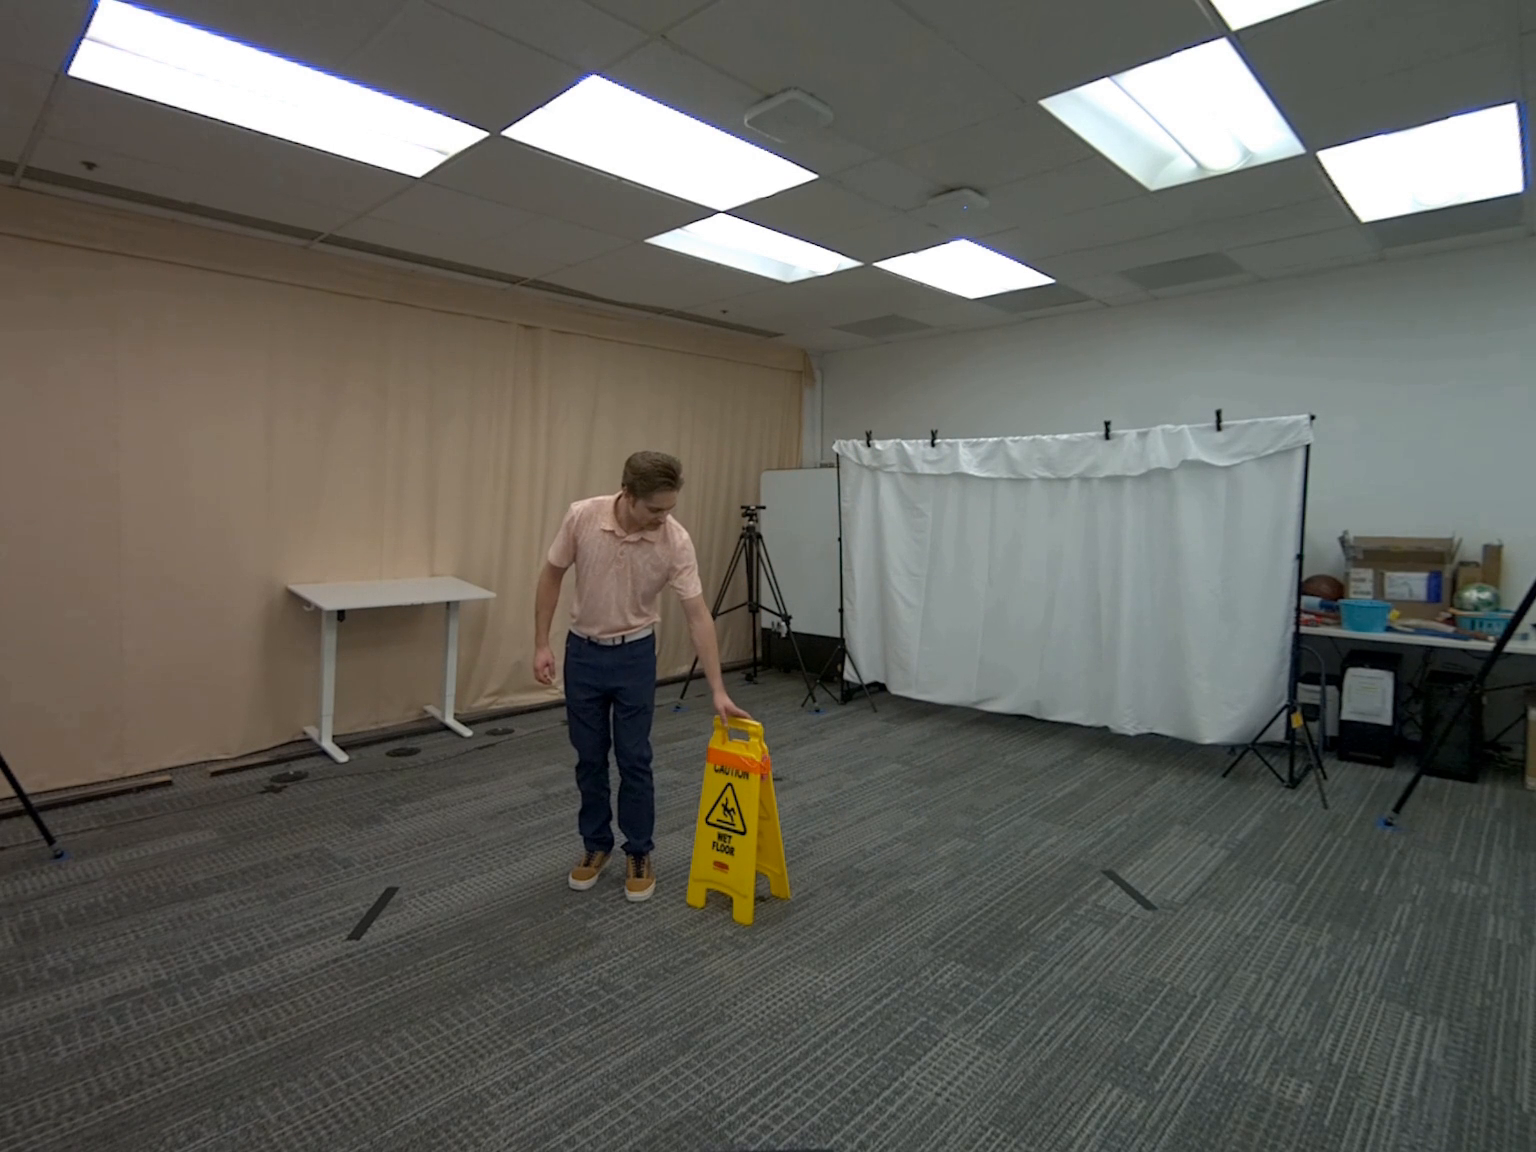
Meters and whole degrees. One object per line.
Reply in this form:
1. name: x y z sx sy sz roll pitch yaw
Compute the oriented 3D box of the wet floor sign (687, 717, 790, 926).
1. wet floor sign: -0.098 0.821 2.954 0.291 0.645 0.281 3 4 36
